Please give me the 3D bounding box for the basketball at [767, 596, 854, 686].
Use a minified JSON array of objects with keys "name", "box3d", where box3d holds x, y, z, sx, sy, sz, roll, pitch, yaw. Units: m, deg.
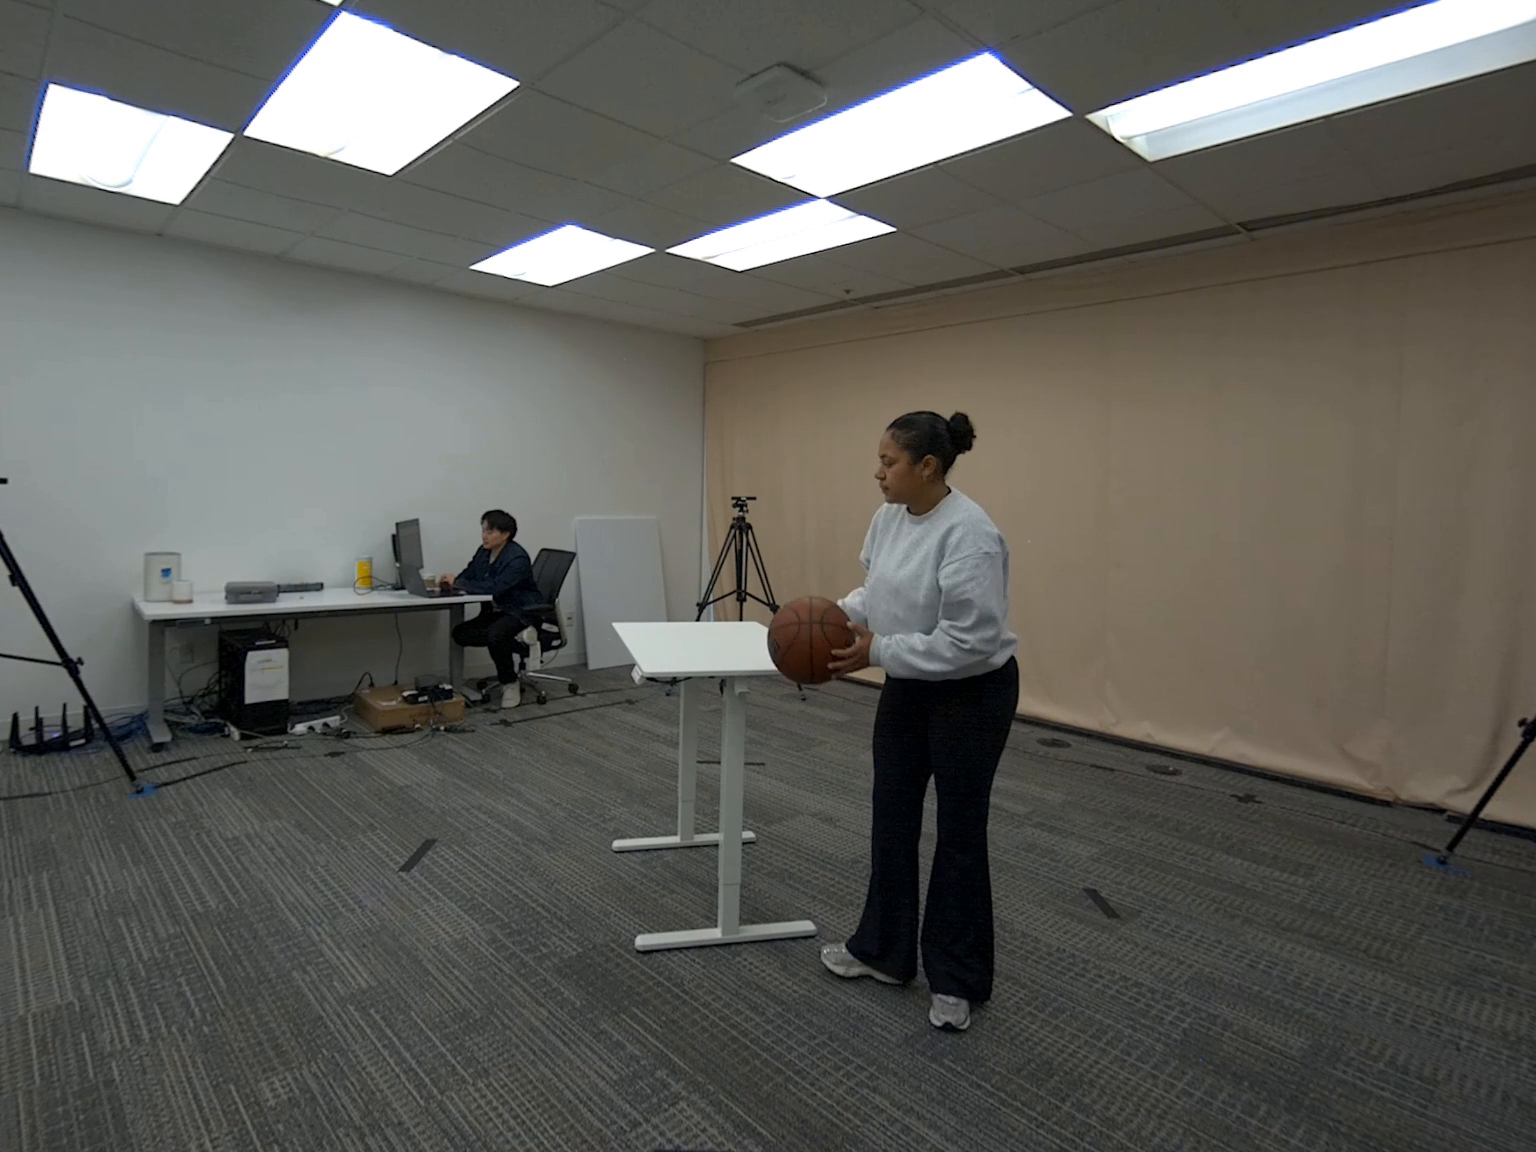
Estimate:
[{"name":"basketball","box3d":[0.119,0.185,2.283,0.236,0.235,0.237,1,4,-1]}]
